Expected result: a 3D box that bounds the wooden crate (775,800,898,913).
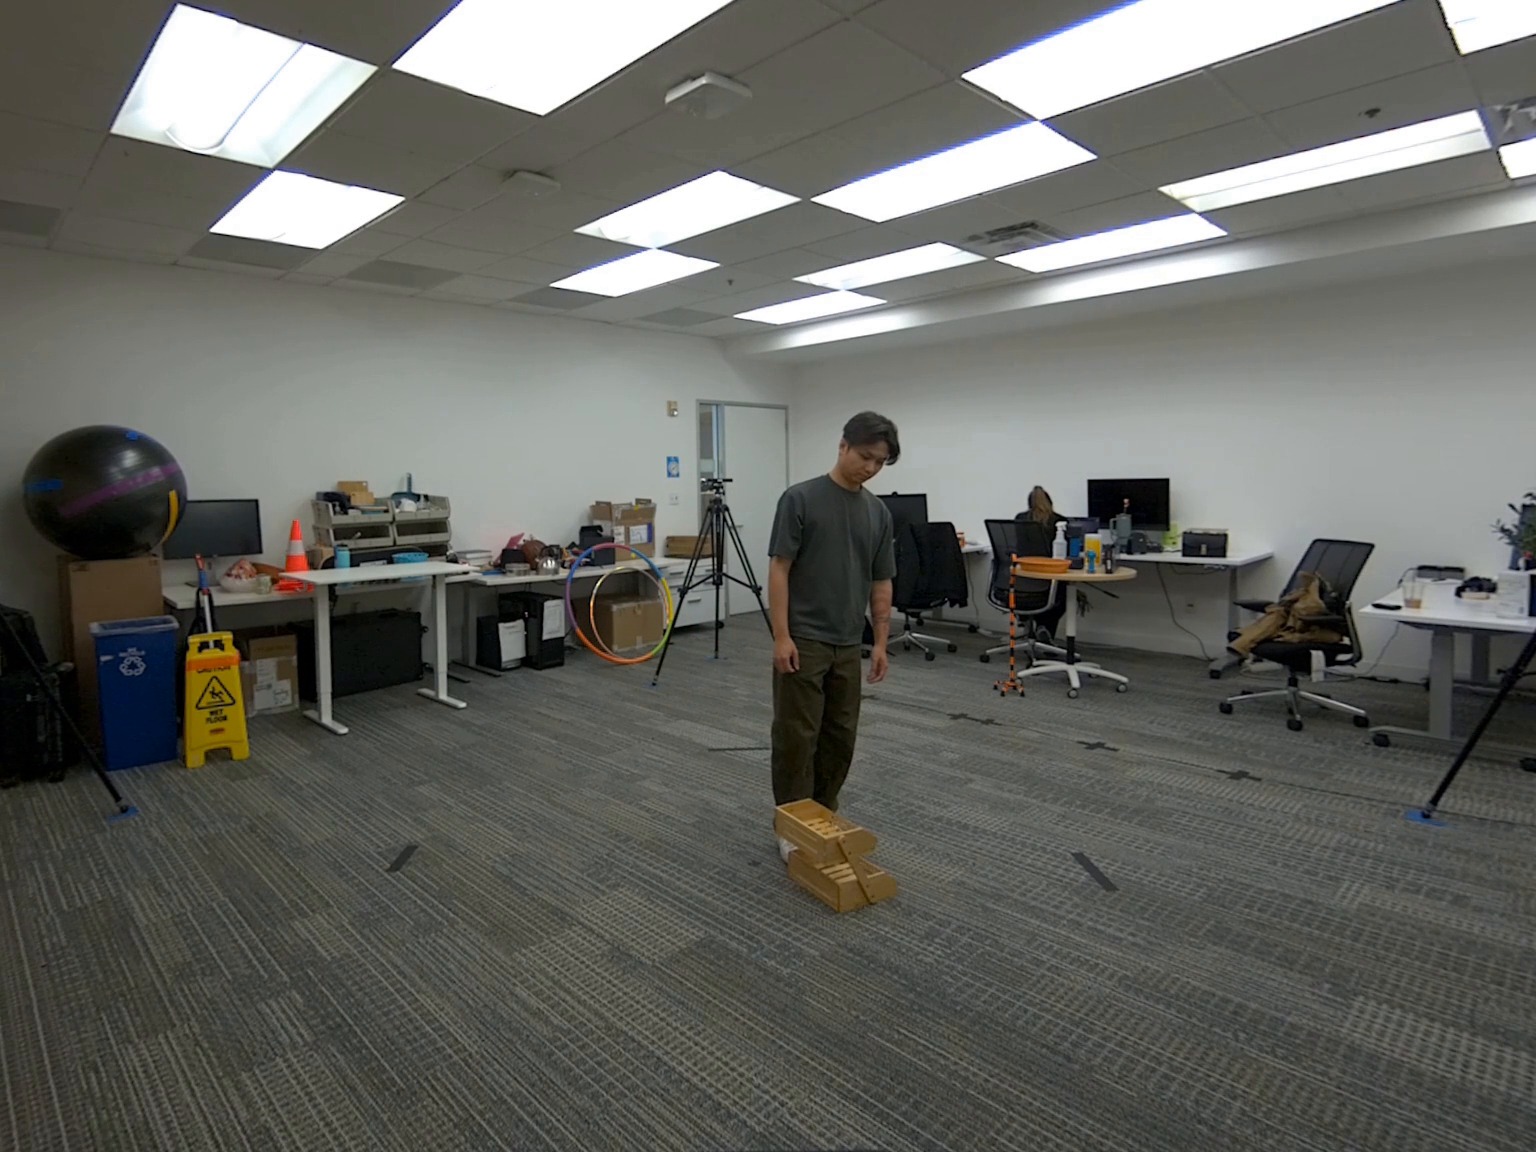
[{"bbox_3d":[0.237,0.933,2.906,0.295,0.272,0.333,-4,6,-30],"label":"wooden crate"}]
